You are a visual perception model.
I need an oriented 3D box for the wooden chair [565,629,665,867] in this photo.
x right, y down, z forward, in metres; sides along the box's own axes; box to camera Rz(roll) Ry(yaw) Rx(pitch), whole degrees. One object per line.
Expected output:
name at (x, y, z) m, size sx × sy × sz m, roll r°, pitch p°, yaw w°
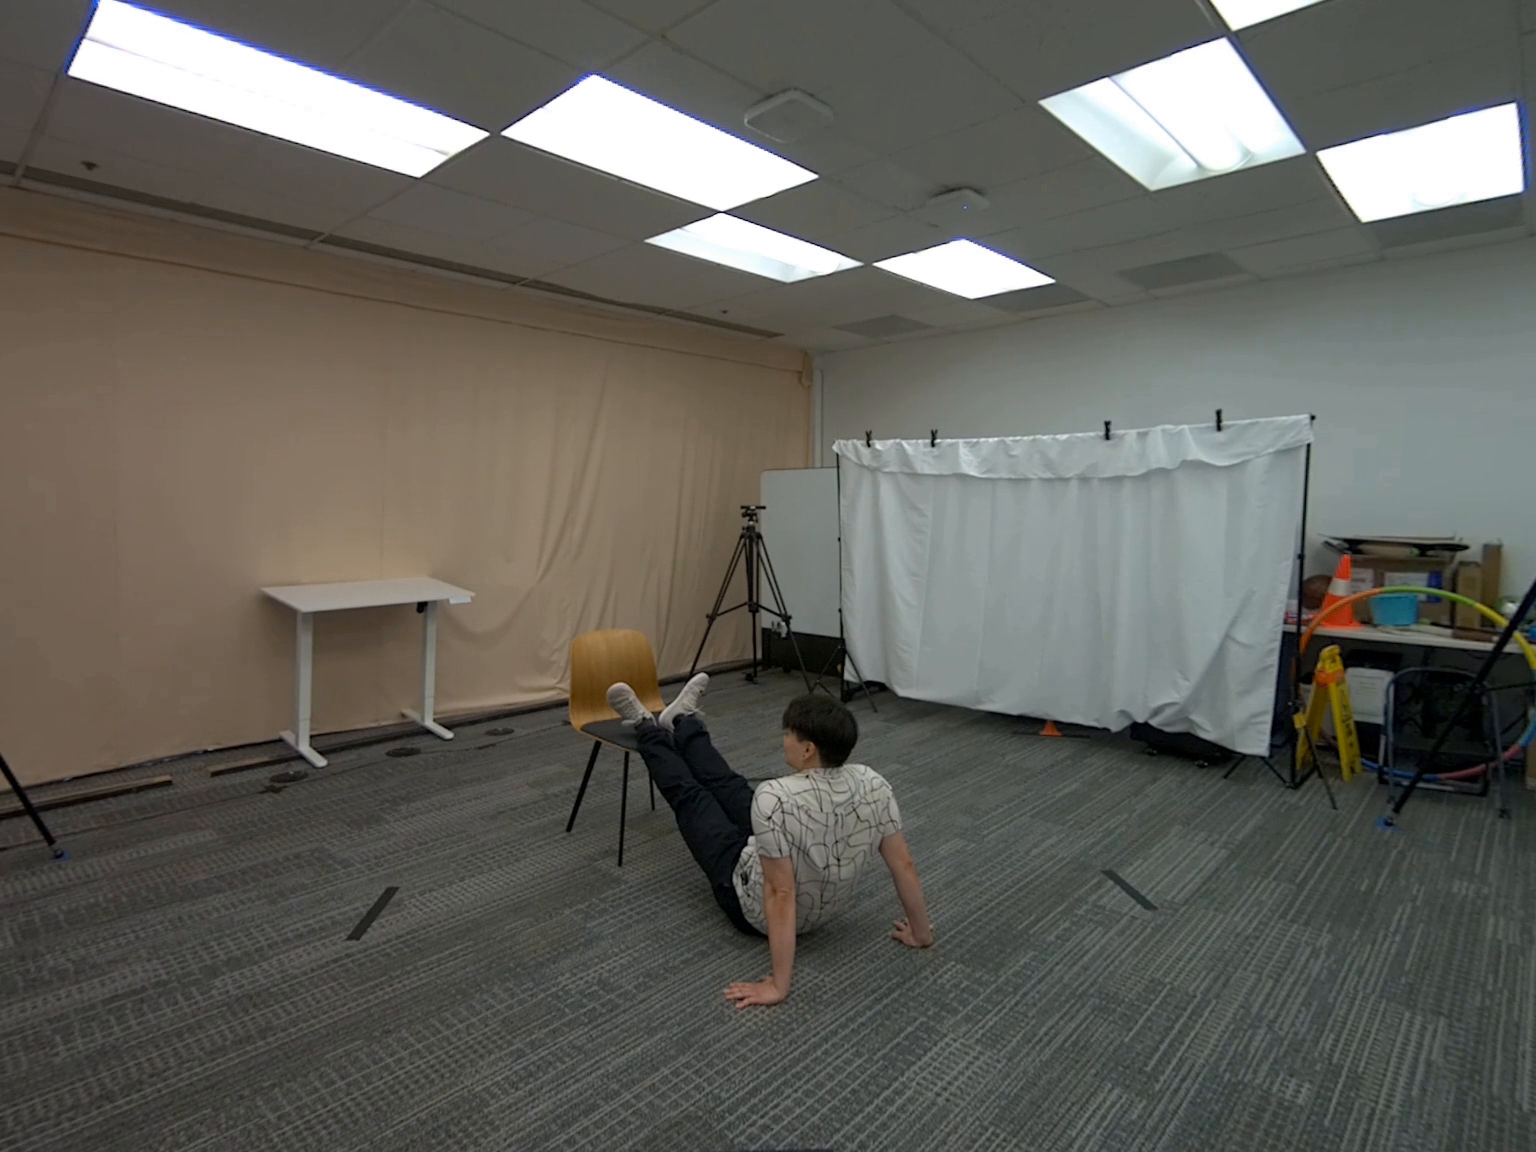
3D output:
wooden chair at (-0.548, 0.673, 3.536) m, size 0.464 × 0.878 × 0.539 m, roll -3°, pitch -1°, yaw -39°
